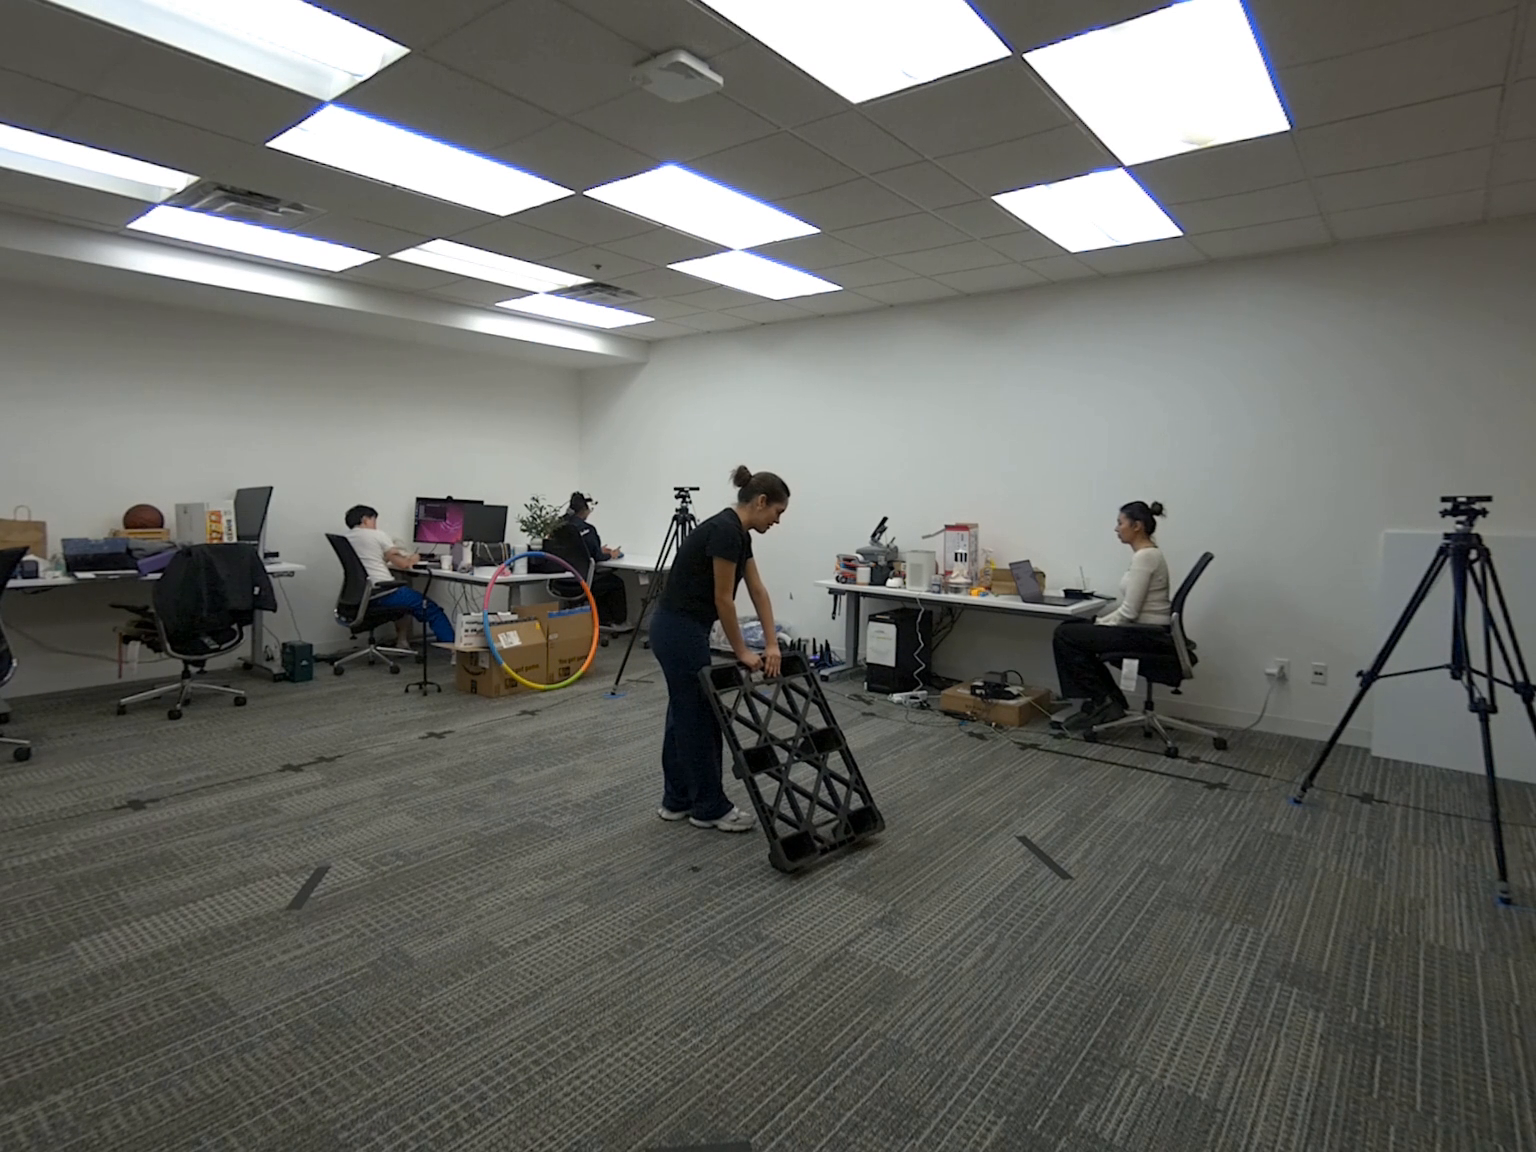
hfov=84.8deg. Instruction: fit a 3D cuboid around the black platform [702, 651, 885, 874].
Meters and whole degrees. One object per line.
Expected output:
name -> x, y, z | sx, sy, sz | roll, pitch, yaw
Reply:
black platform -> 0.091, 0.709, 3.386 | 0.587, 0.829, 0.143 | -3, -31, -43
